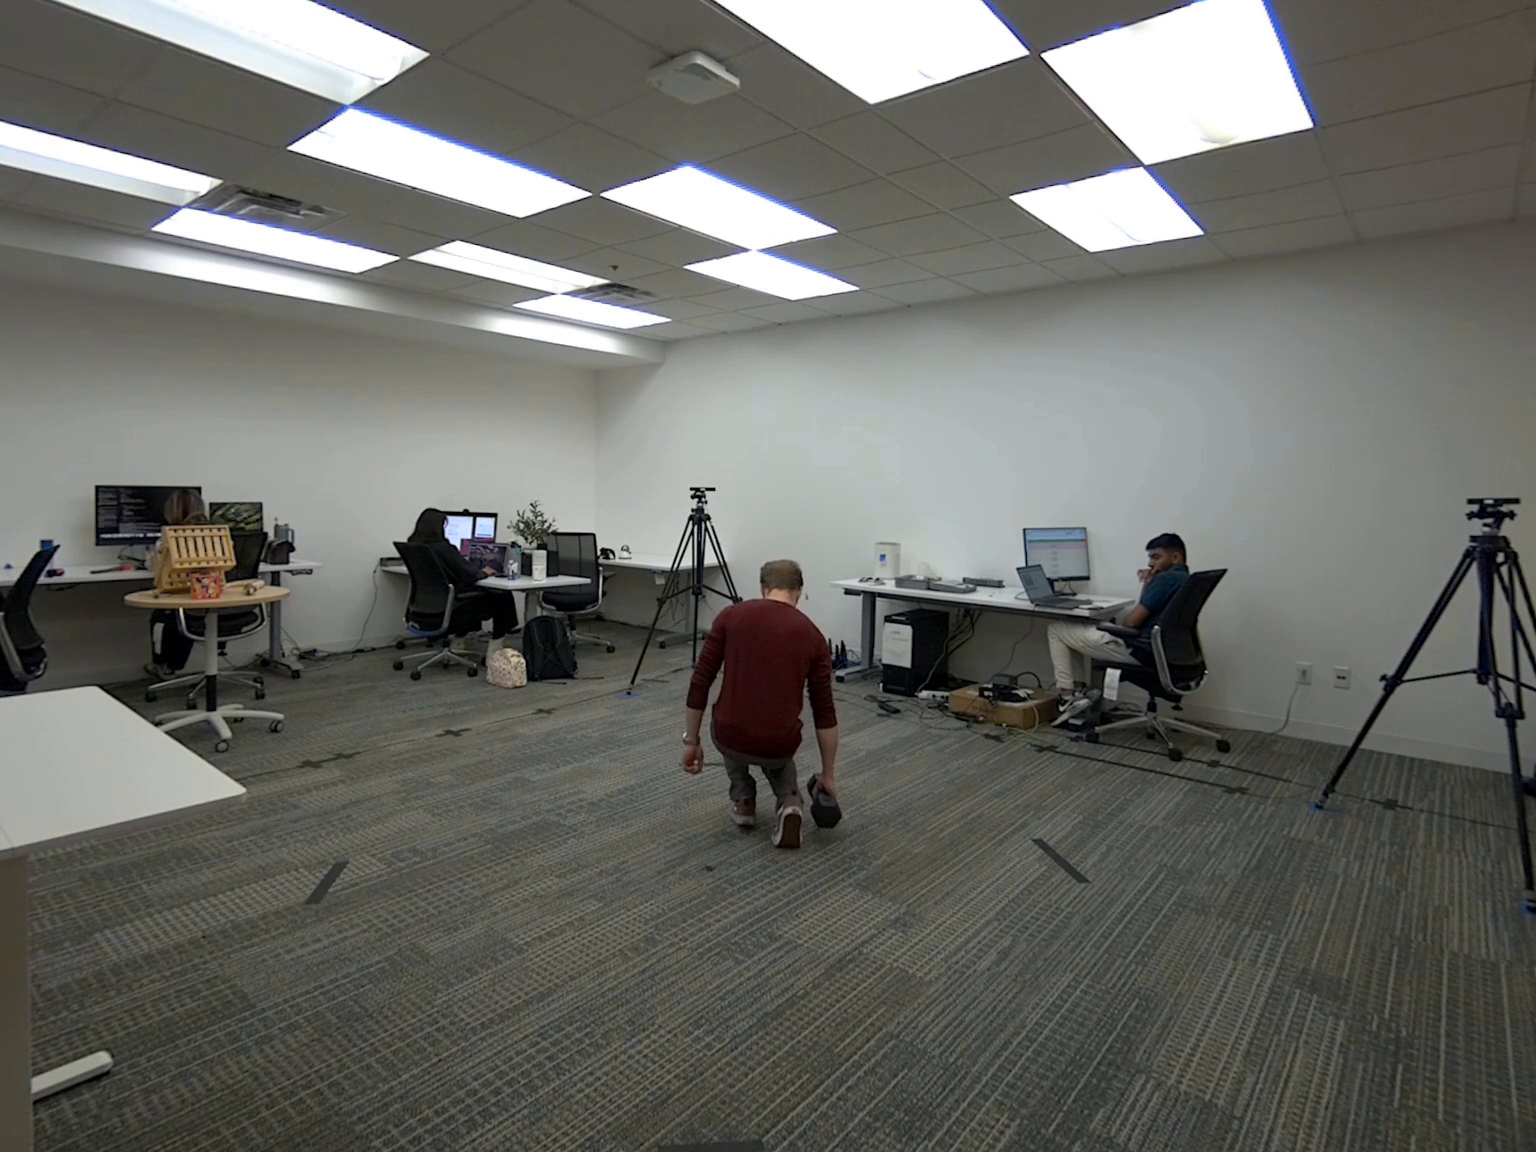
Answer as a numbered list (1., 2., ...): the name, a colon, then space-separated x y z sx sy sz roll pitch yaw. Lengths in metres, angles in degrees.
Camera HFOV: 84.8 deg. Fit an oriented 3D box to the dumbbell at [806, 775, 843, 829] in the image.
1. dumbbell: 0.215 0.898 3.458 0.109 0.121 0.296 -27 10 3
